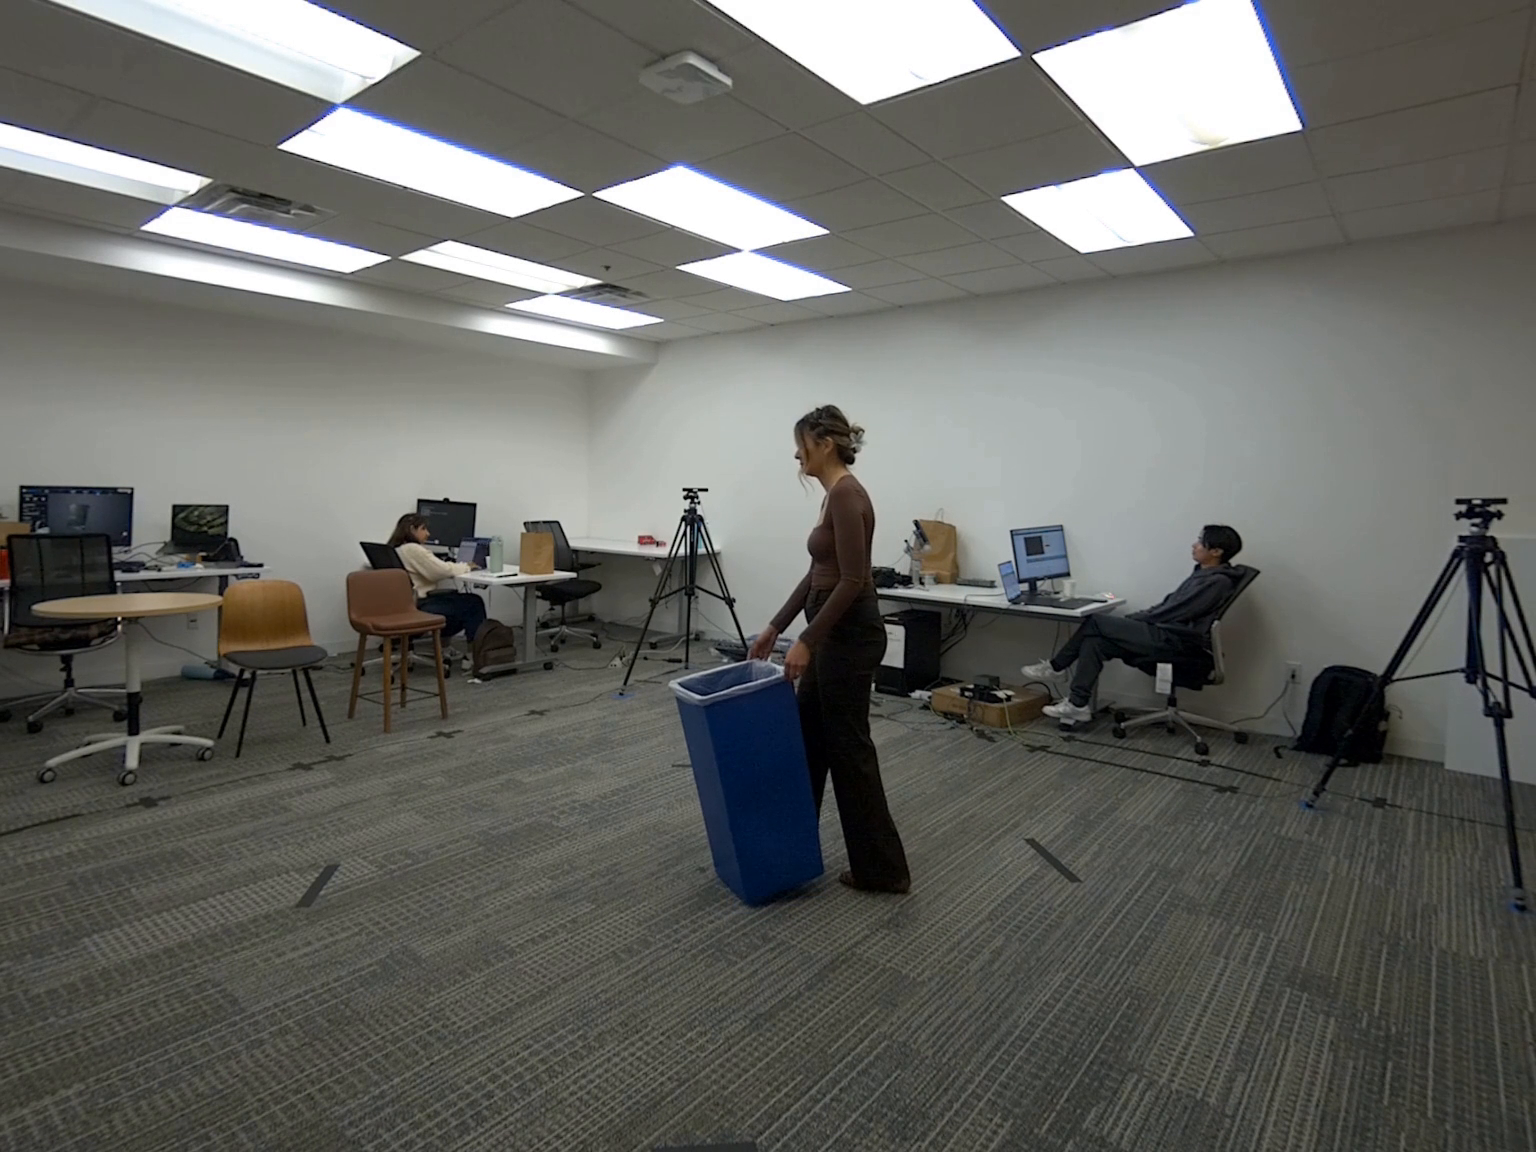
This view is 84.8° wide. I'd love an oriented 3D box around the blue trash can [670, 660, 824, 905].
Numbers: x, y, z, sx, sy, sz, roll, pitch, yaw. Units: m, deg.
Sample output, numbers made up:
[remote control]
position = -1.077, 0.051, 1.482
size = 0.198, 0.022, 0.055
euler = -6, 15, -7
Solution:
[blue trash can]
position = -0.085, 0.703, 2.987
size = 0.371, 0.711, 0.382
euler = -11, 3, -23
